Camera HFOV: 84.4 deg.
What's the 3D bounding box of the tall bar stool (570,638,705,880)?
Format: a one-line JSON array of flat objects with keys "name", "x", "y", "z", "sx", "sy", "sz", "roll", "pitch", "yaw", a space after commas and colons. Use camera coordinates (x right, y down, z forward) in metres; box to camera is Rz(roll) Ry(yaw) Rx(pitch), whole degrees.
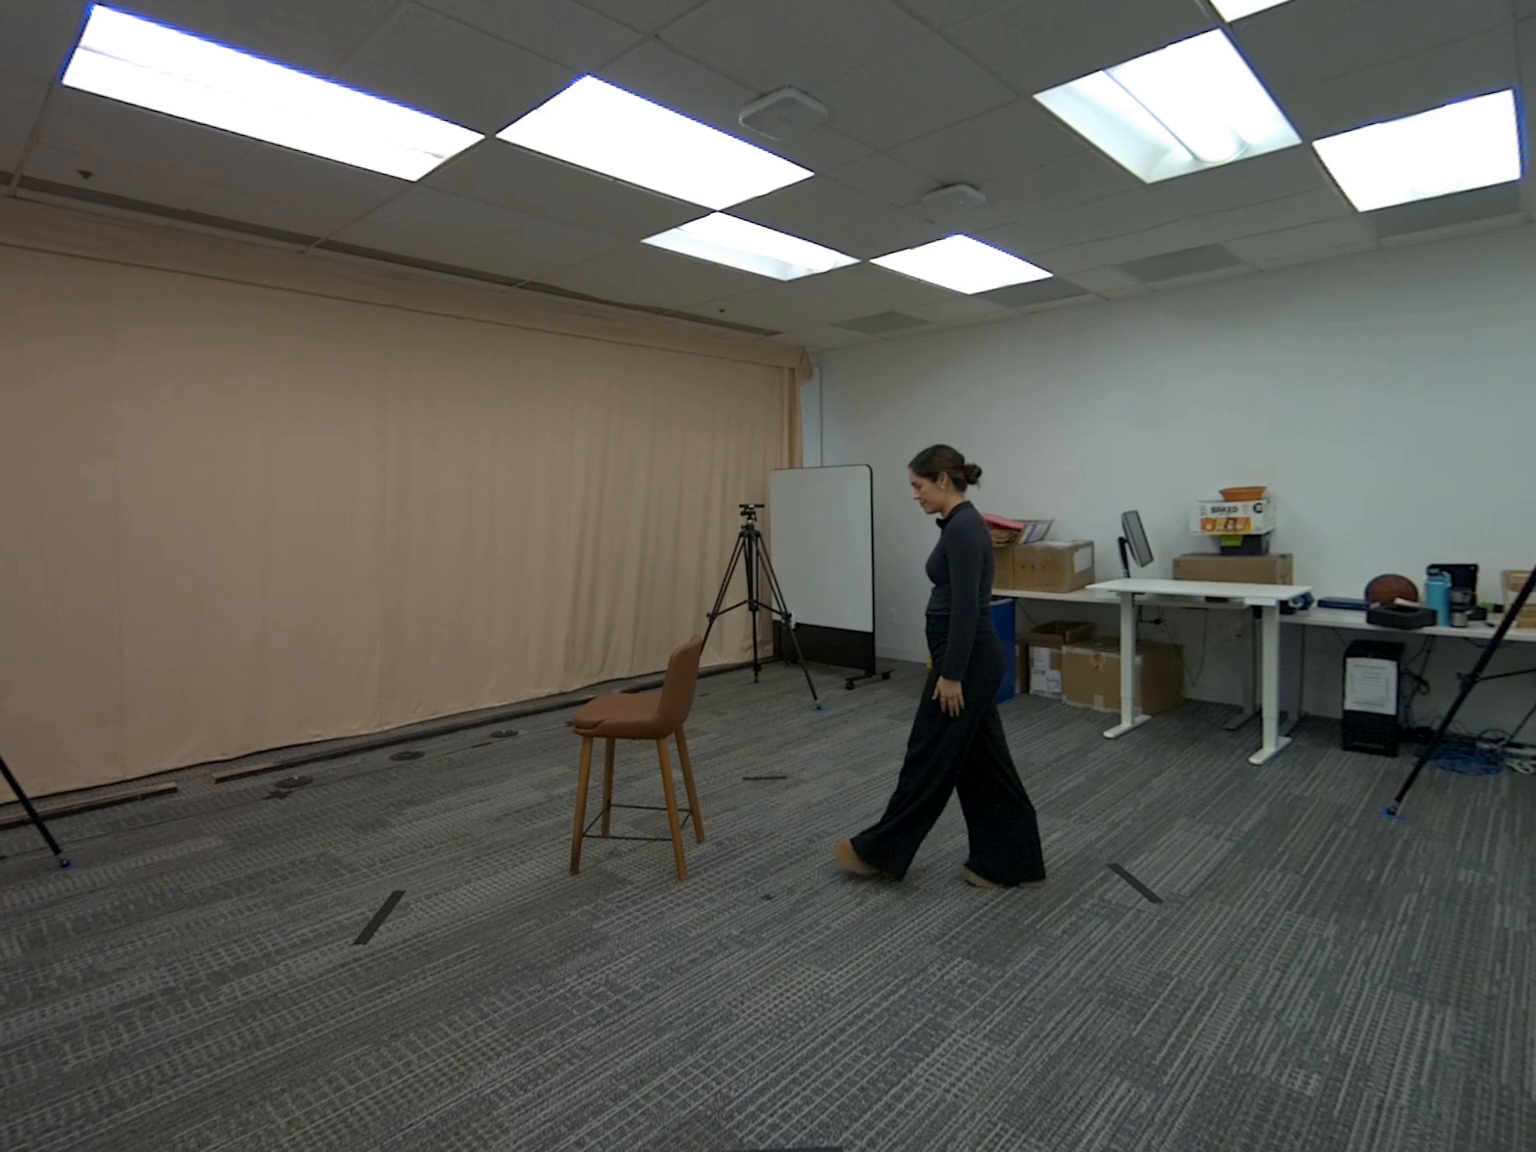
[{"name": "tall bar stool", "x": -0.508, "y": 0.687, "z": 3.340, "sx": 0.473, "sy": 0.888, "sz": 0.452, "roll": 1, "pitch": 3, "yaw": 10}]
